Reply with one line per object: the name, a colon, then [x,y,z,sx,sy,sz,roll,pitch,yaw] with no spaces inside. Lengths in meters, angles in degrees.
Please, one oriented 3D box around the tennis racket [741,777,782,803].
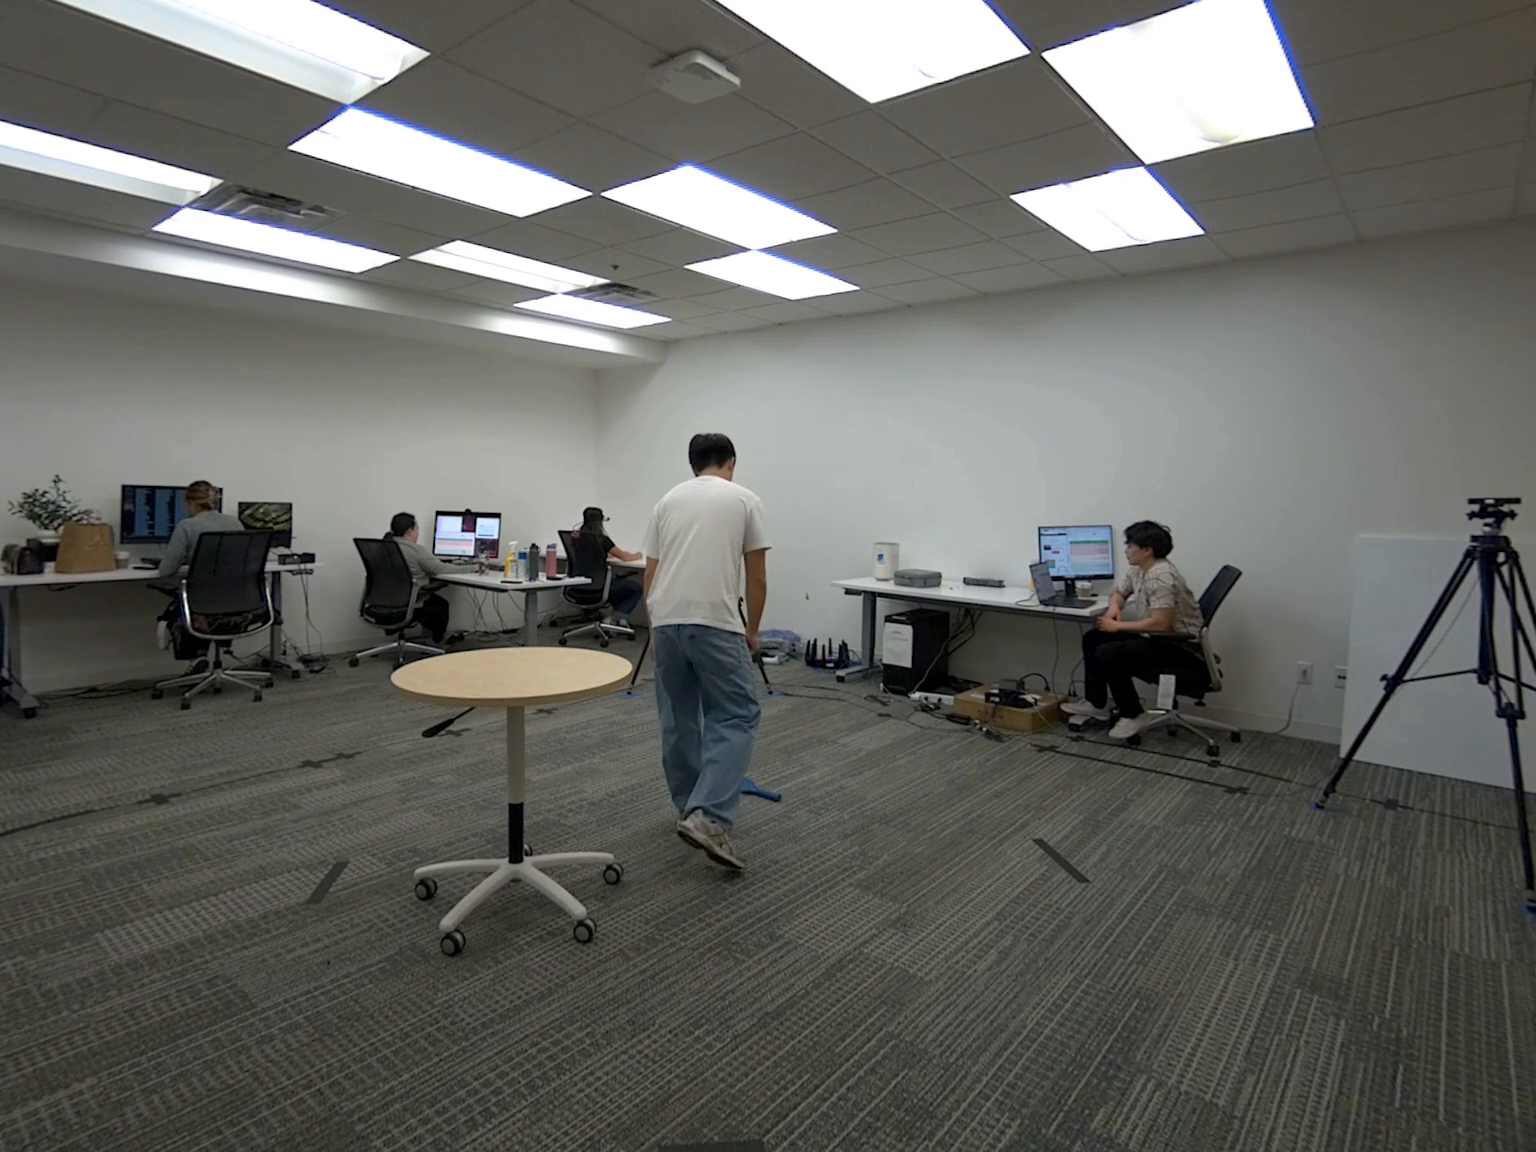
tennis racket: [-0.129,0.968,3.930,0.447,0.031,0.207,4,6,41]
